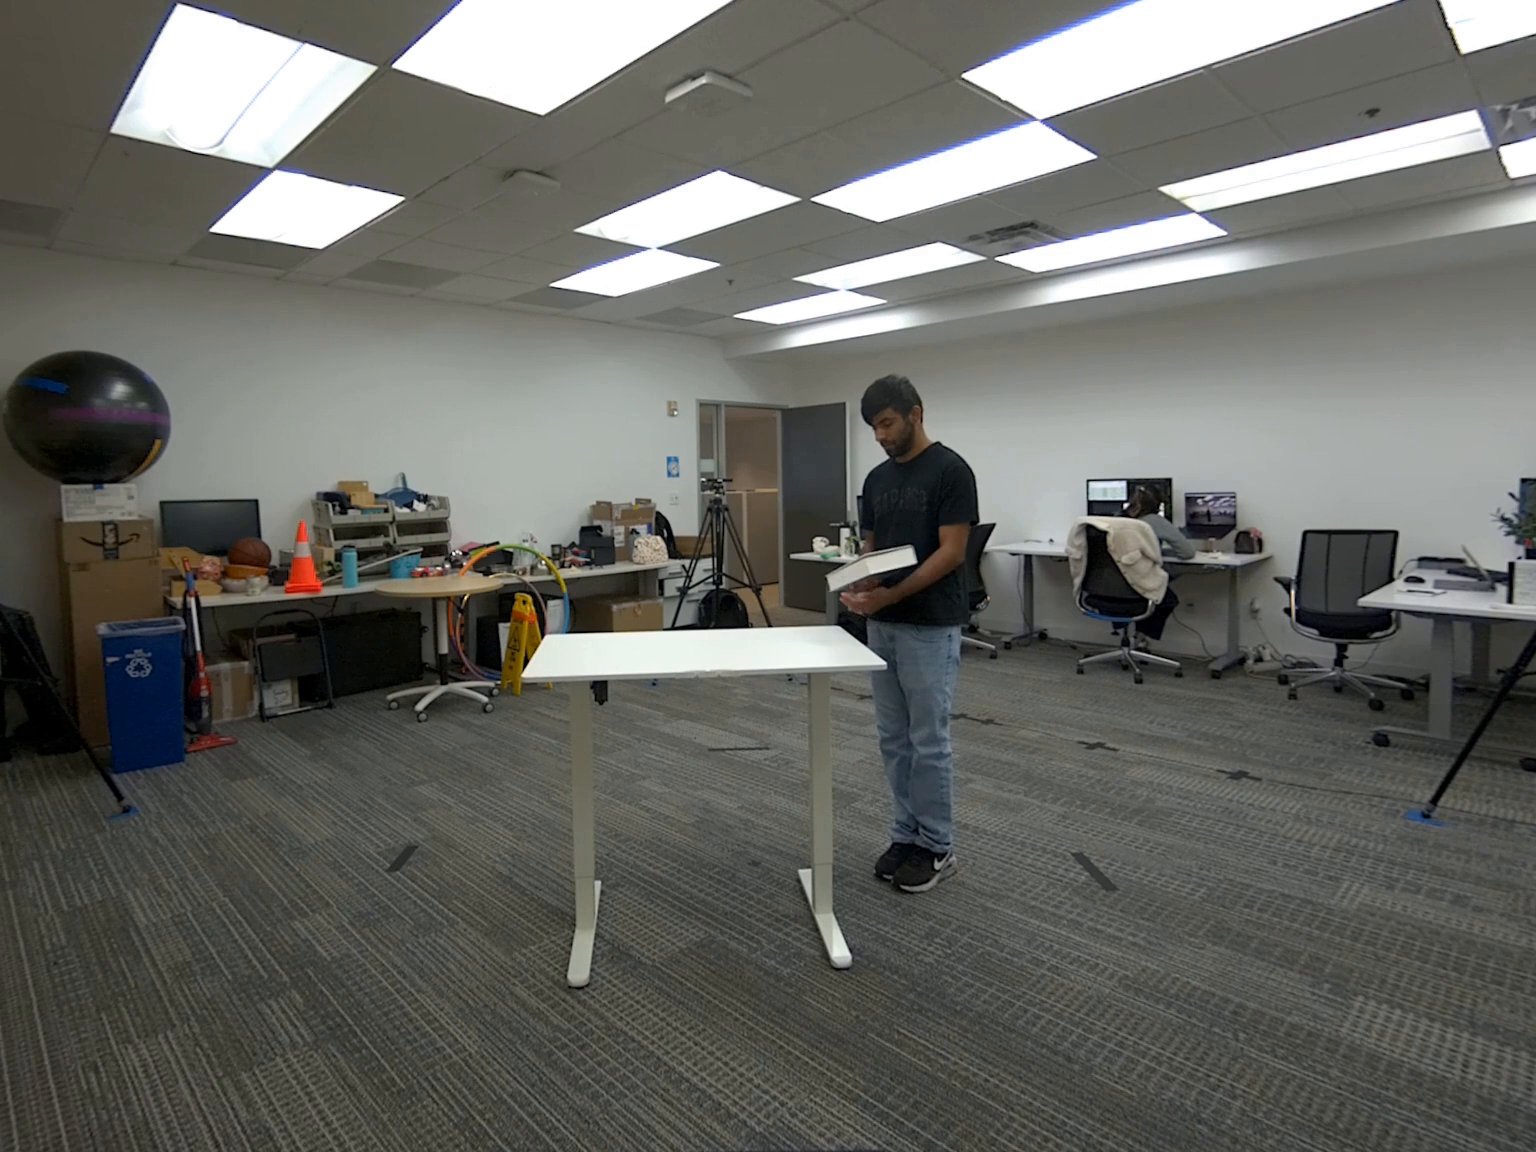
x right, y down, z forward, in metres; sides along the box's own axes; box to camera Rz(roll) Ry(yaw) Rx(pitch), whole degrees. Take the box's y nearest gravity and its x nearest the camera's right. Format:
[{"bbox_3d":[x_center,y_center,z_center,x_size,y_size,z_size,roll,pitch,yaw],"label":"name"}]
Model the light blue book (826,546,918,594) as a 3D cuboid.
[{"bbox_3d":[0.335,-0.018,2.760,0.188,0.060,0.262,-14,-9,-27],"label":"light blue book"}]
